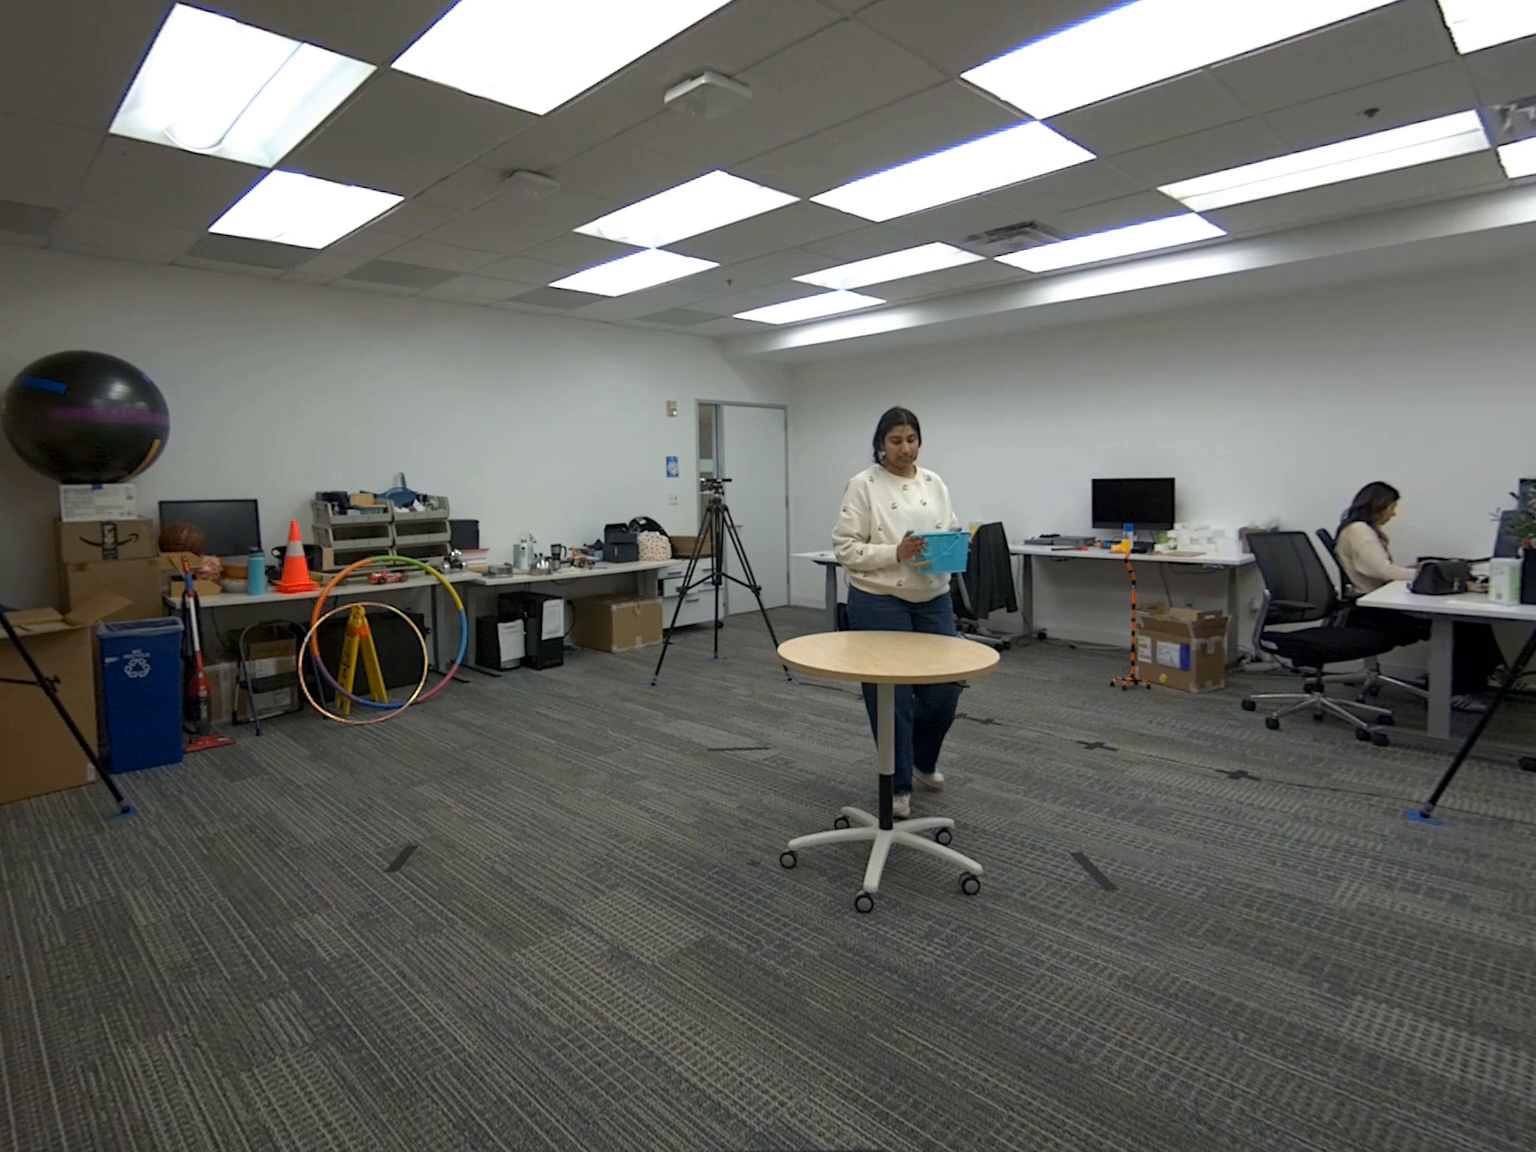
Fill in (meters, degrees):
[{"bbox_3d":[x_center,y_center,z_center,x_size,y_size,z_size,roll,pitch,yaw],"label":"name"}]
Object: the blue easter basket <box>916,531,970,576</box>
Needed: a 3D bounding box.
[{"bbox_3d":[0.676,-0.091,3.354,0.243,0.156,0.244,-3,2,-2],"label":"blue easter basket"}]
